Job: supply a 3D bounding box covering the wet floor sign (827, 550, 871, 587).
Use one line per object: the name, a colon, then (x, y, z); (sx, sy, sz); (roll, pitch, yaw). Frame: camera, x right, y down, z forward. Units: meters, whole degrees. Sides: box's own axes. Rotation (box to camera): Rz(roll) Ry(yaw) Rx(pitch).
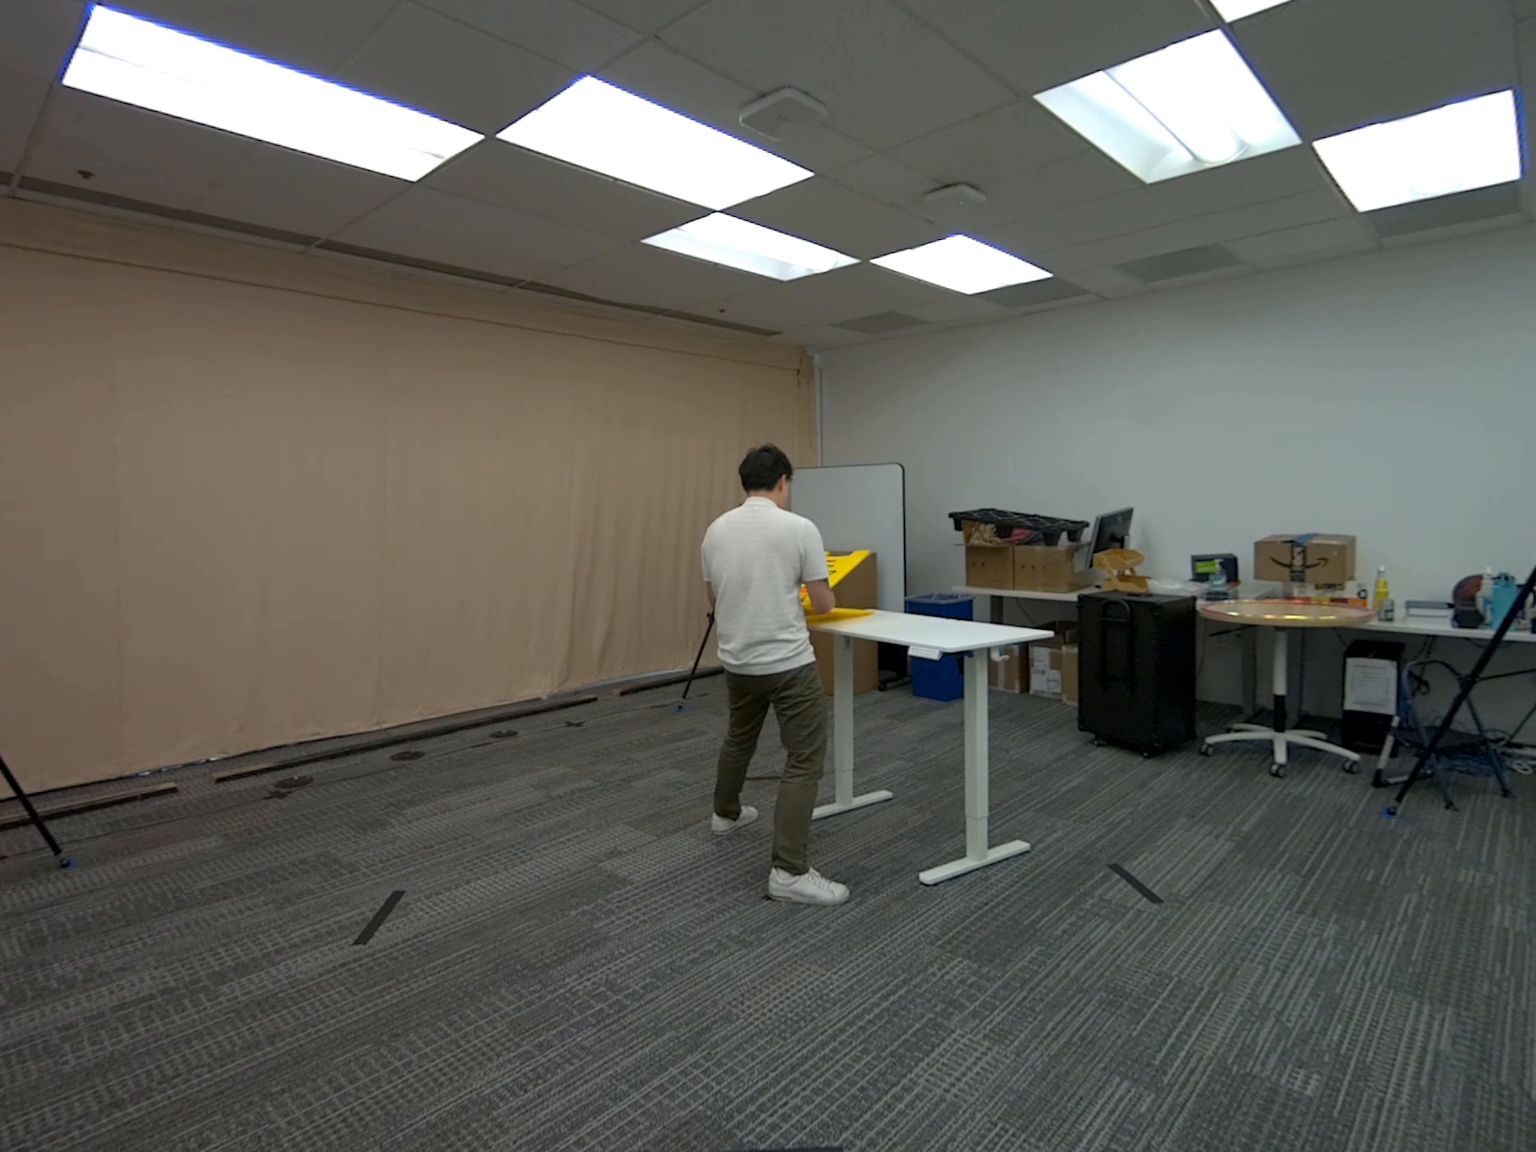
wet floor sign: (0.217, 0.075, 3.670); (0.290, 0.288, 0.632); (-1, 8, 28)
